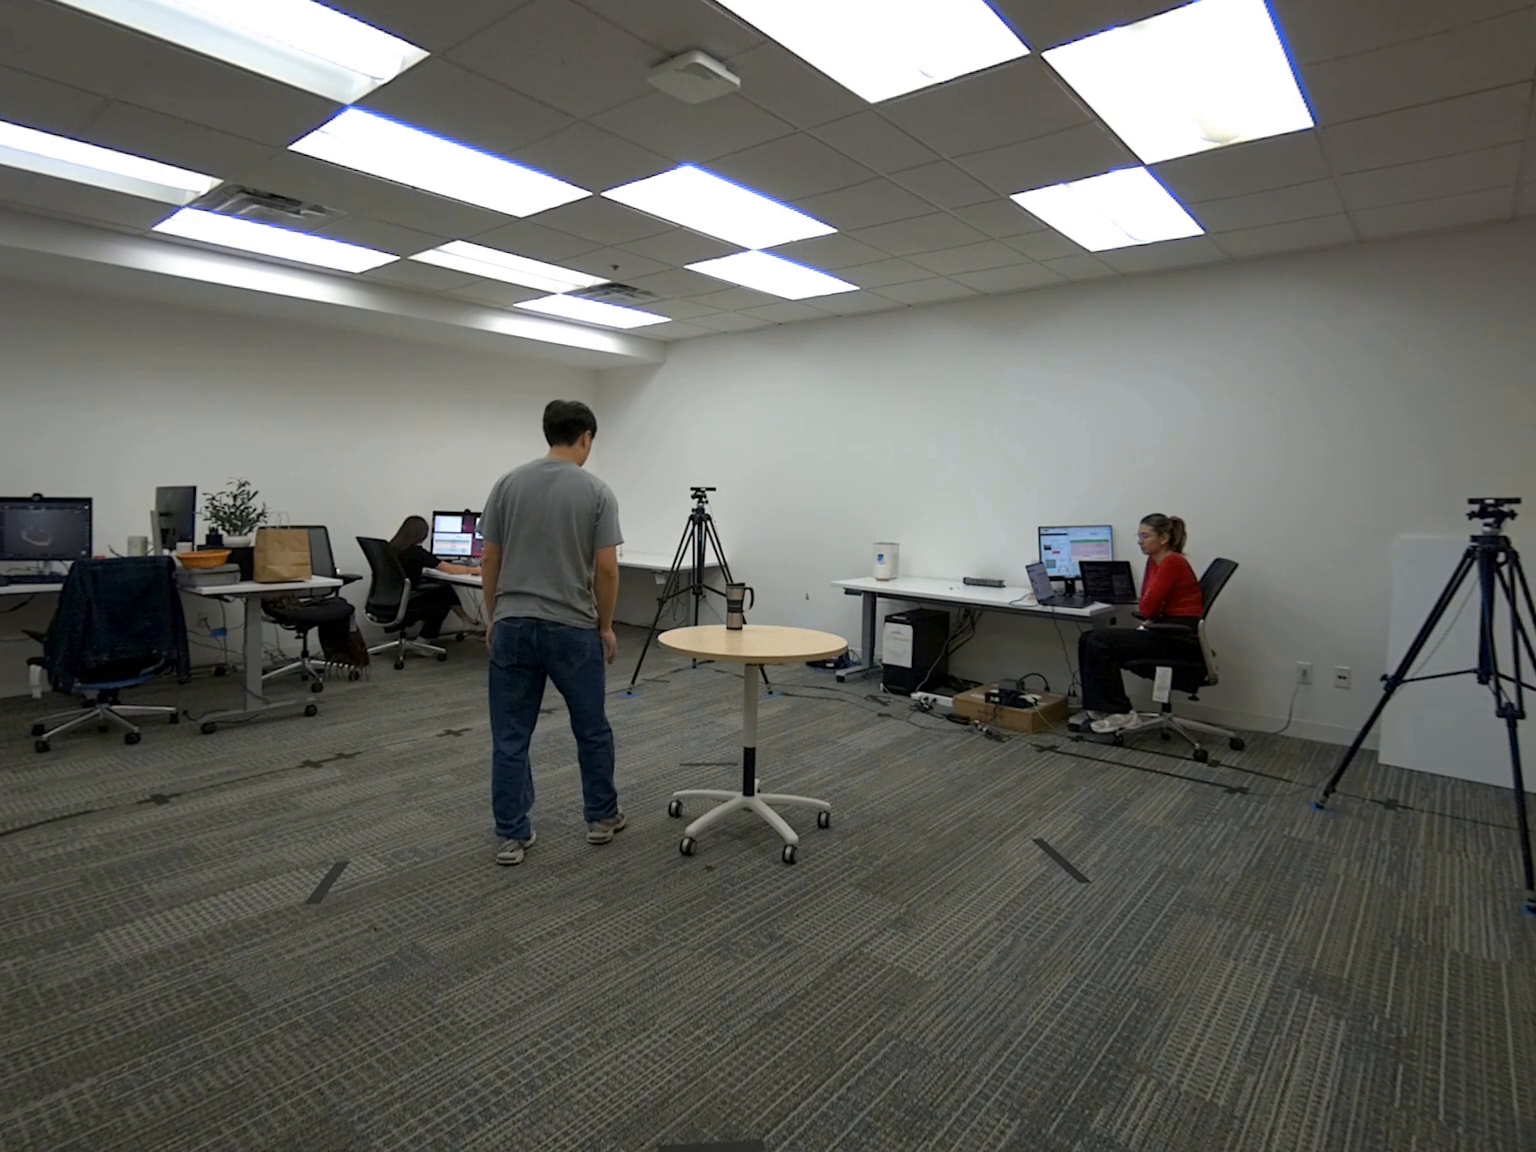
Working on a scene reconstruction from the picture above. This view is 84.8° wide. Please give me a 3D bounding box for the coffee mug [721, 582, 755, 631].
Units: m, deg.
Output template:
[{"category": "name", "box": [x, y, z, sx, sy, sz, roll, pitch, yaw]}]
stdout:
[{"category": "coffee mug", "box": [-0.133, 0.129, 3.684, 0.125, 0.203, 0.086, 0, 0, 22]}]
